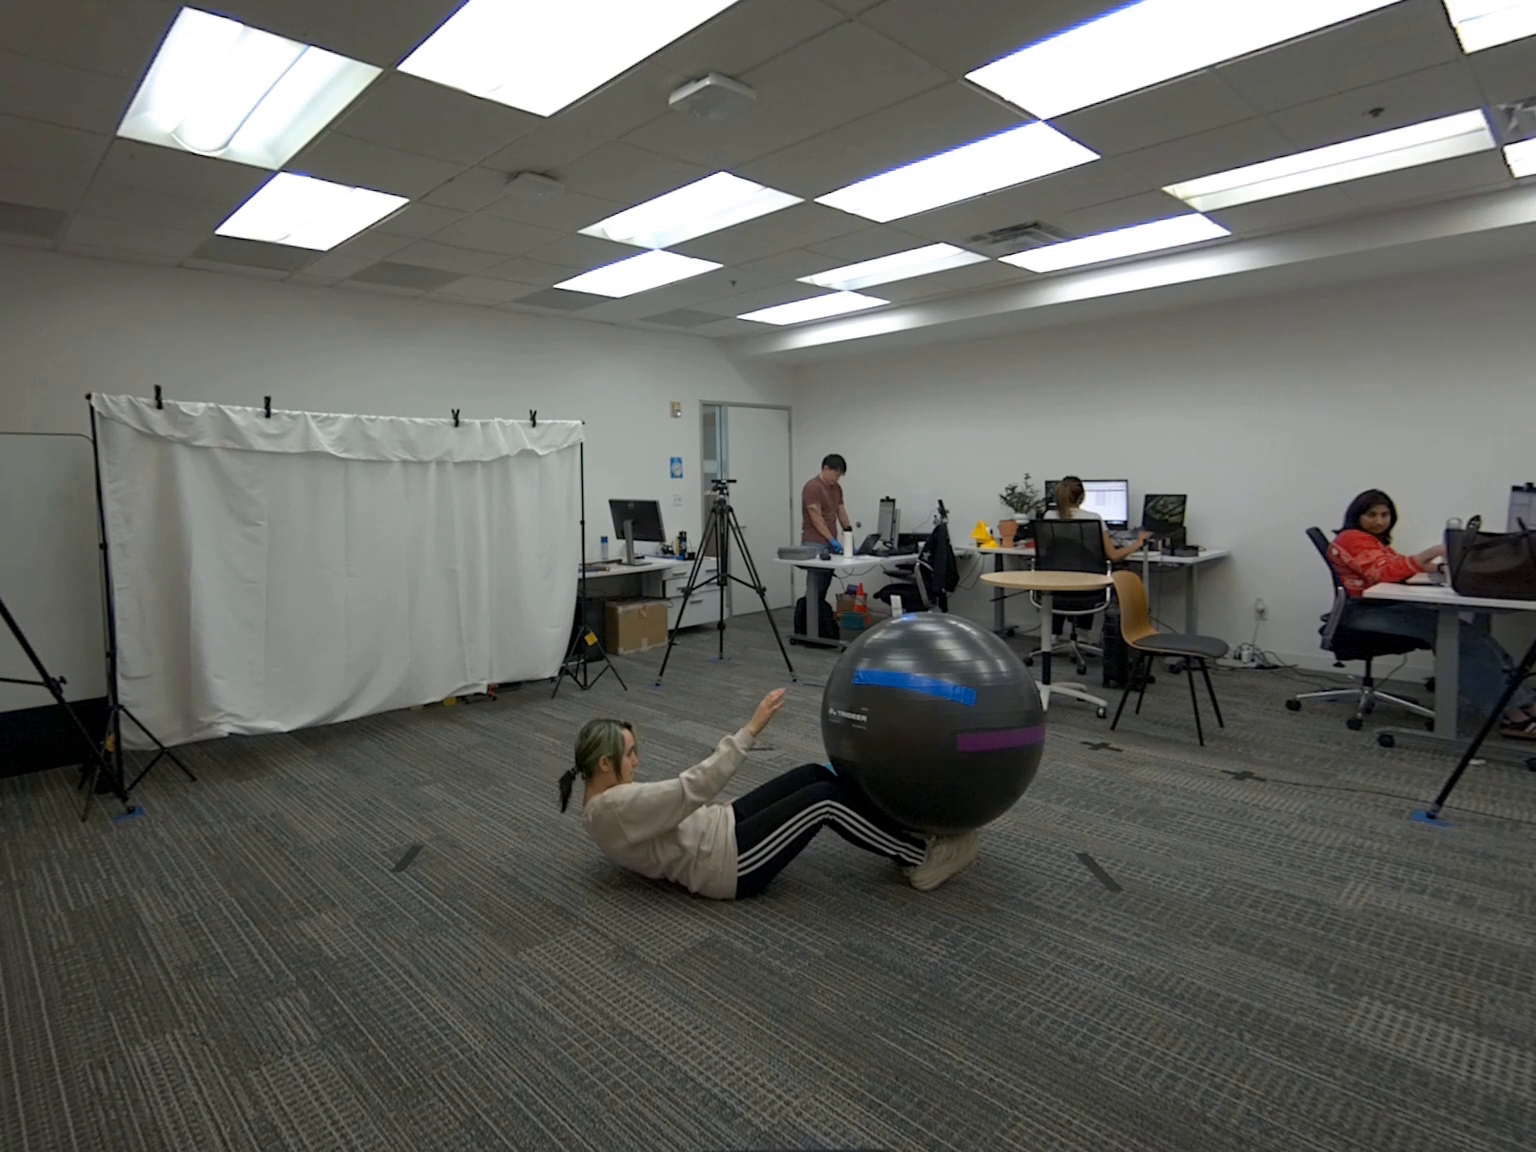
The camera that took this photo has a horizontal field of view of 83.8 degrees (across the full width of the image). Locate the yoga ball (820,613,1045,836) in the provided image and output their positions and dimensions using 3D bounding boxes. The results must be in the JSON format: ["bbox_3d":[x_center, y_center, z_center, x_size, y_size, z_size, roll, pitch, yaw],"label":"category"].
[{"bbox_3d":[0.575,0.508,2.999,0.757,0.755,0.762,-1,5,-2],"label":"yoga ball"}]
